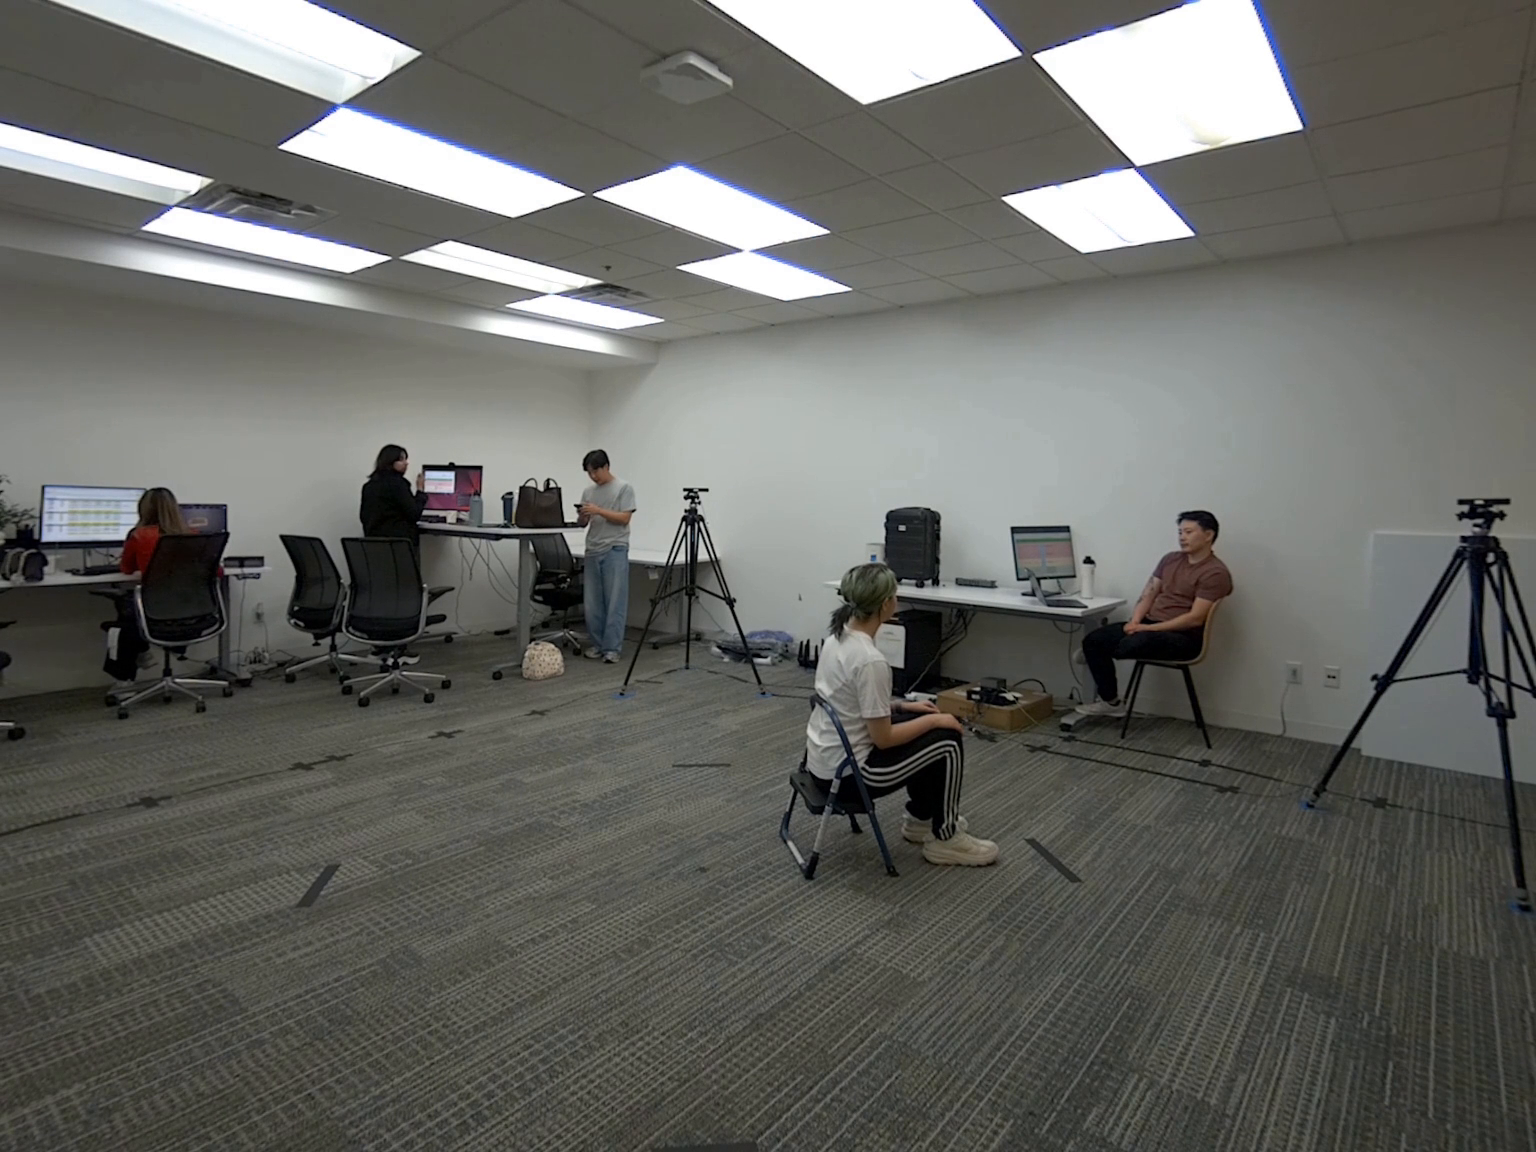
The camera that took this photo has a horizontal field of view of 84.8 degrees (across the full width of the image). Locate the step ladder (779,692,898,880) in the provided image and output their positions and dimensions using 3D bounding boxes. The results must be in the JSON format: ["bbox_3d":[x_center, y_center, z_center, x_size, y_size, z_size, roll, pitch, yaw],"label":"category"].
[{"bbox_3d":[0.257,0.768,3.255,0.345,0.604,0.437,1,4,-13],"label":"step ladder"}]
